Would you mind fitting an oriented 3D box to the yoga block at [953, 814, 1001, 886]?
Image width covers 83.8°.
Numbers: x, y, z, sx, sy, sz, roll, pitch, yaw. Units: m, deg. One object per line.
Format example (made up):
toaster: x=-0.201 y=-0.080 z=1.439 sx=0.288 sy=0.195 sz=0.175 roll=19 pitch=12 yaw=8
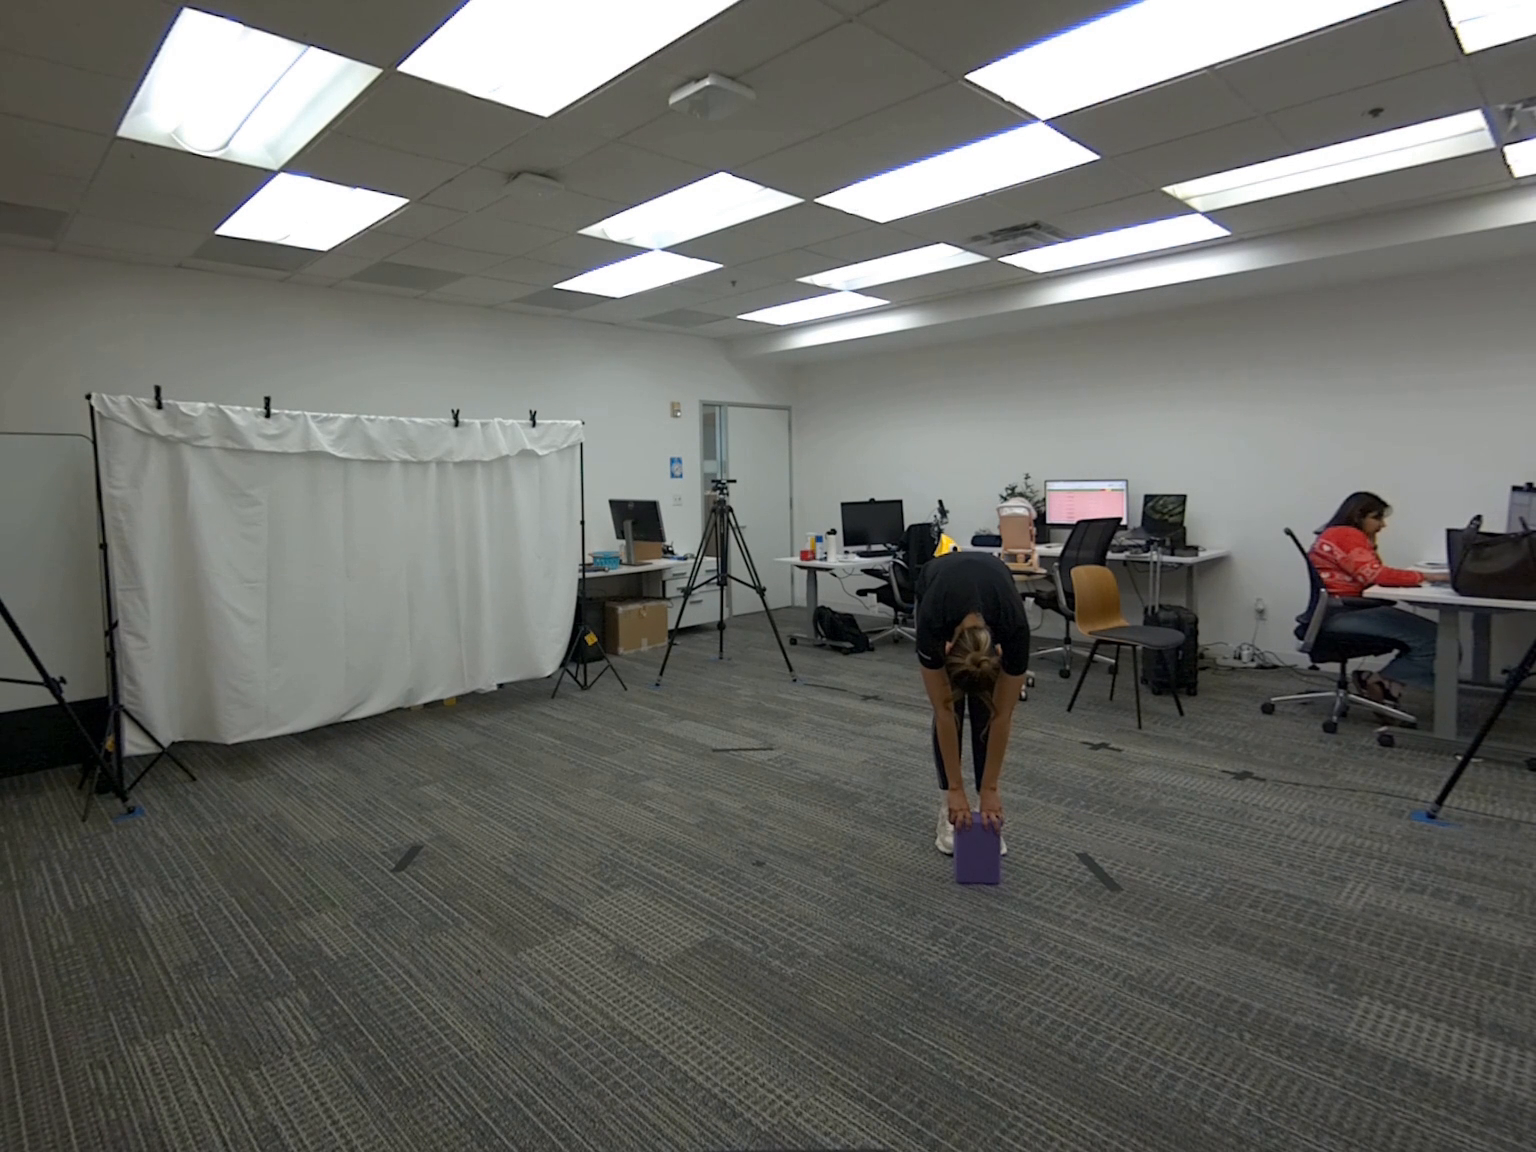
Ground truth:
yoga block: x=0.723 y=0.944 z=2.942 sx=0.150 sy=0.229 sz=0.076 roll=-2 pitch=3 yaw=5
